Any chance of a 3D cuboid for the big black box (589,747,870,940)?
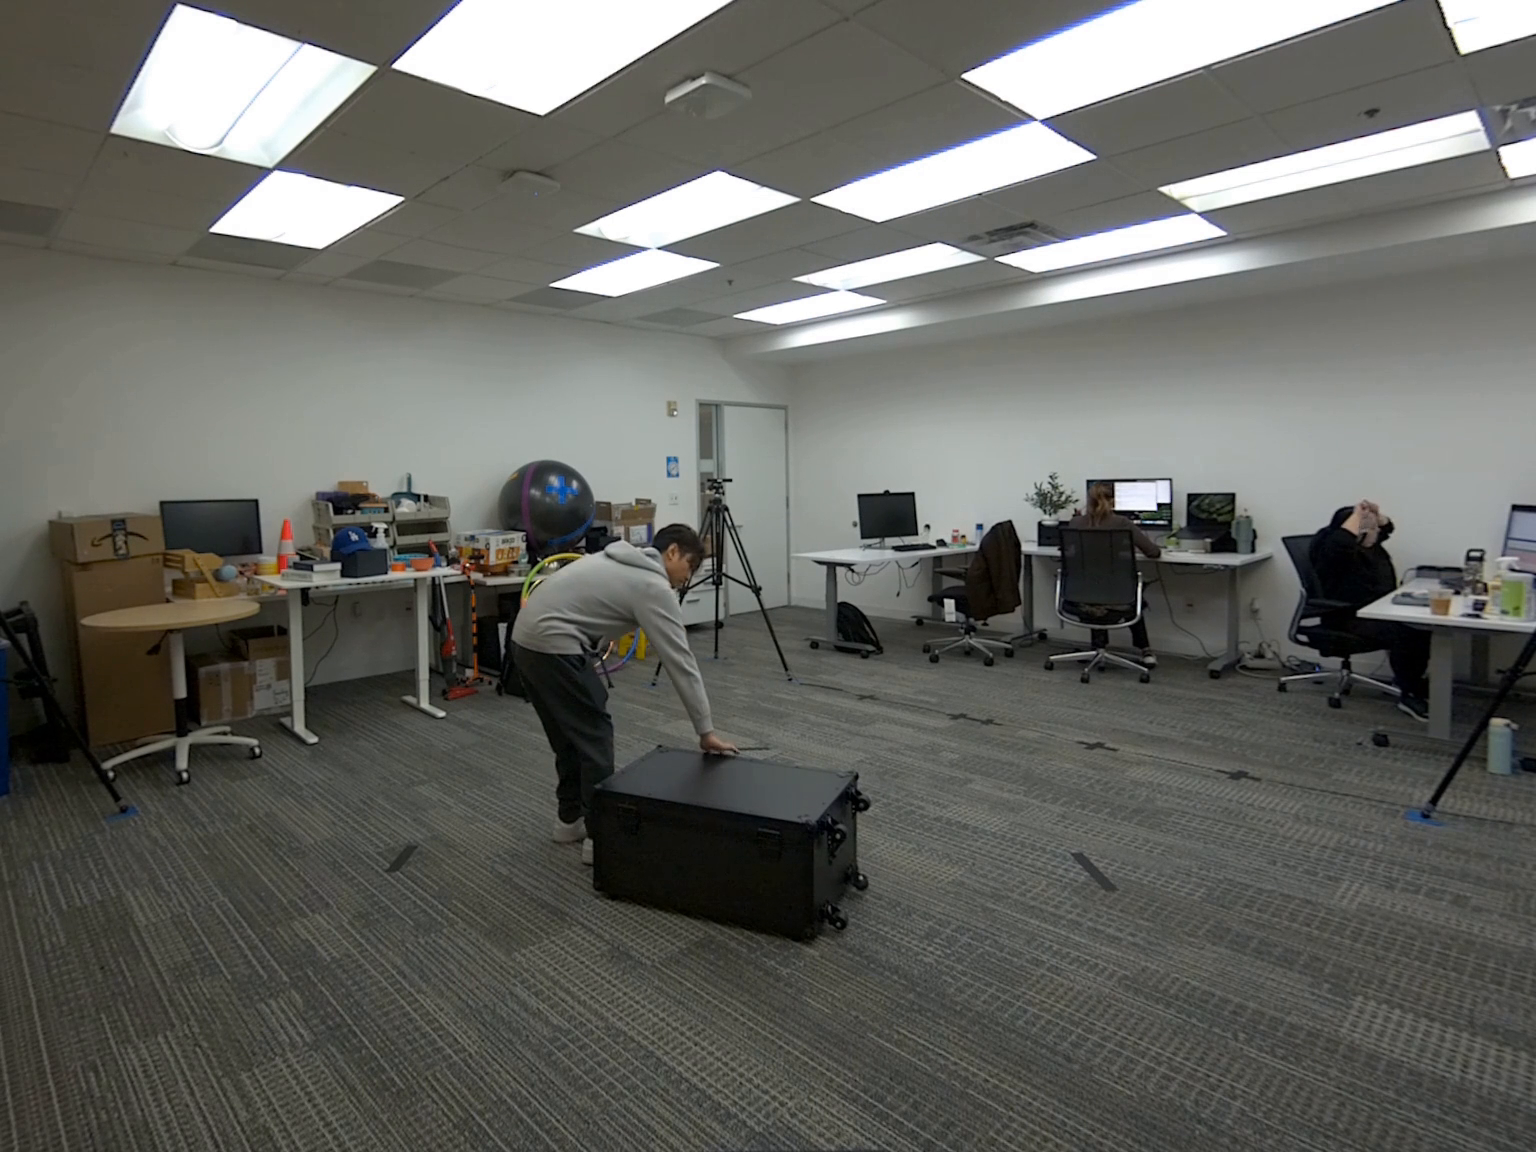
[{"bbox_3d":[-0.166,0.877,2.926,0.881,0.394,0.512,2,6,23],"label":"big black box"}]
